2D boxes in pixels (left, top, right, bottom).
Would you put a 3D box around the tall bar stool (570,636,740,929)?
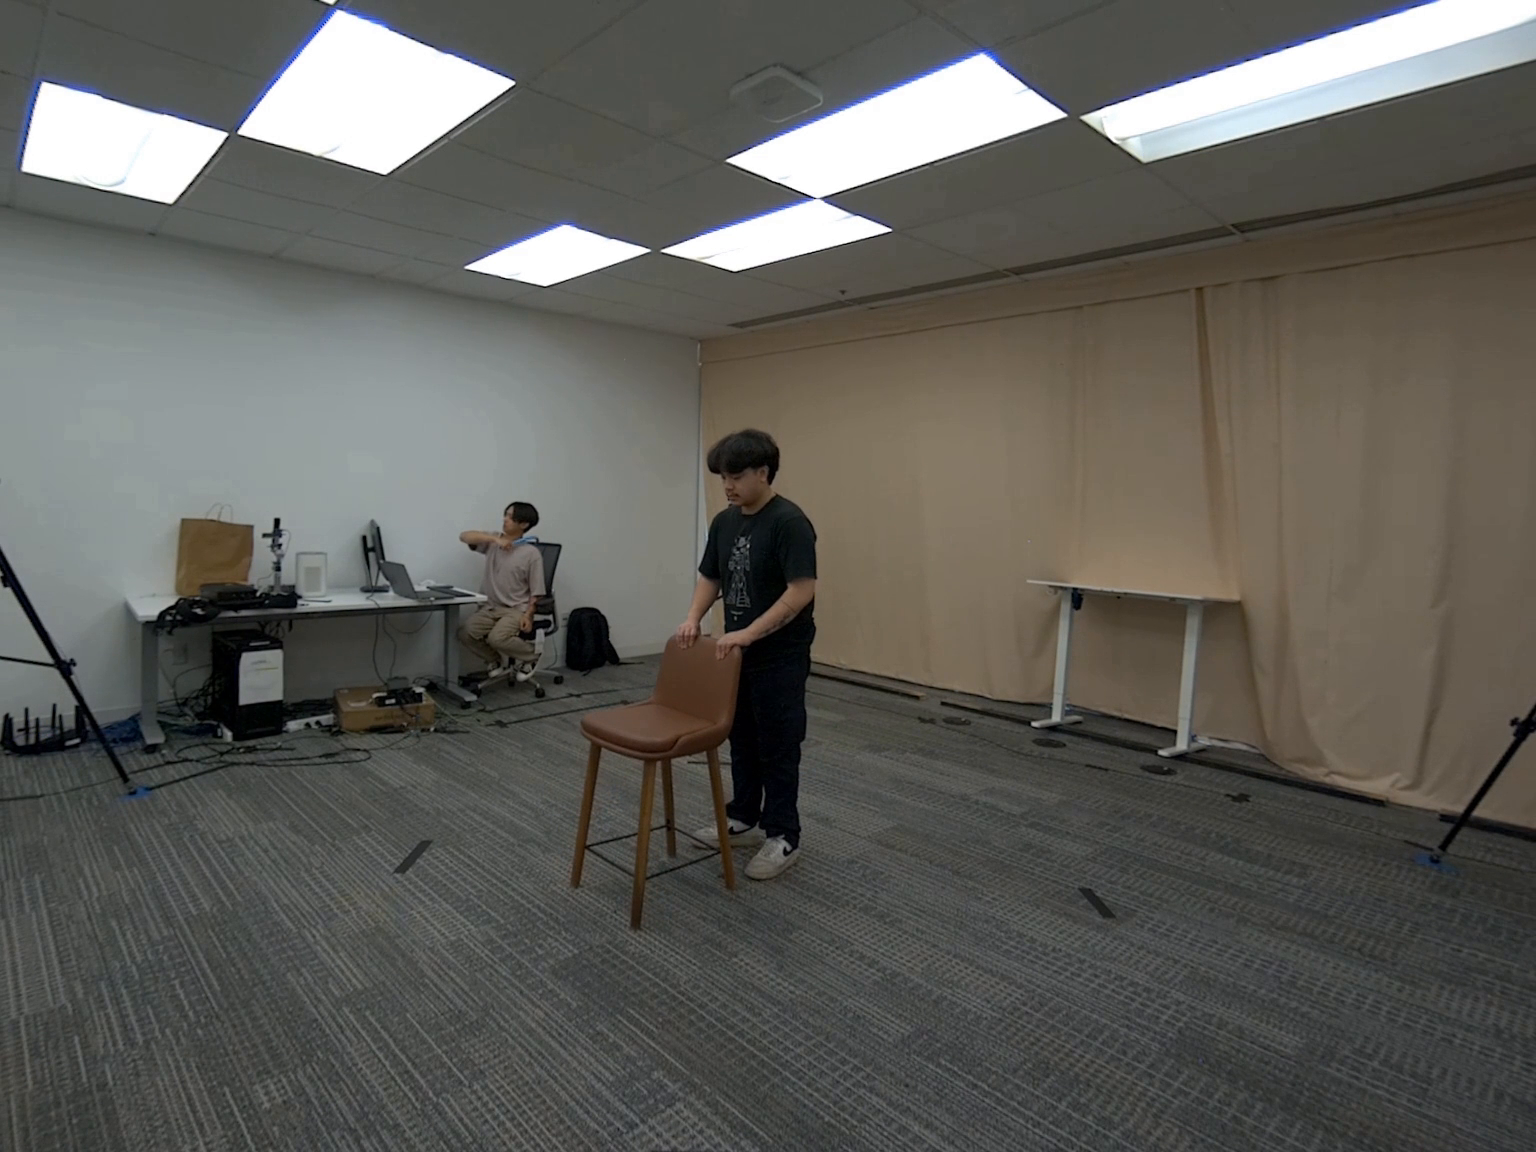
[{"bbox_3d":[-0.390,0.678,2.972,0.456,0.888,0.468,1,3,-43],"label":"tall bar stool"}]
